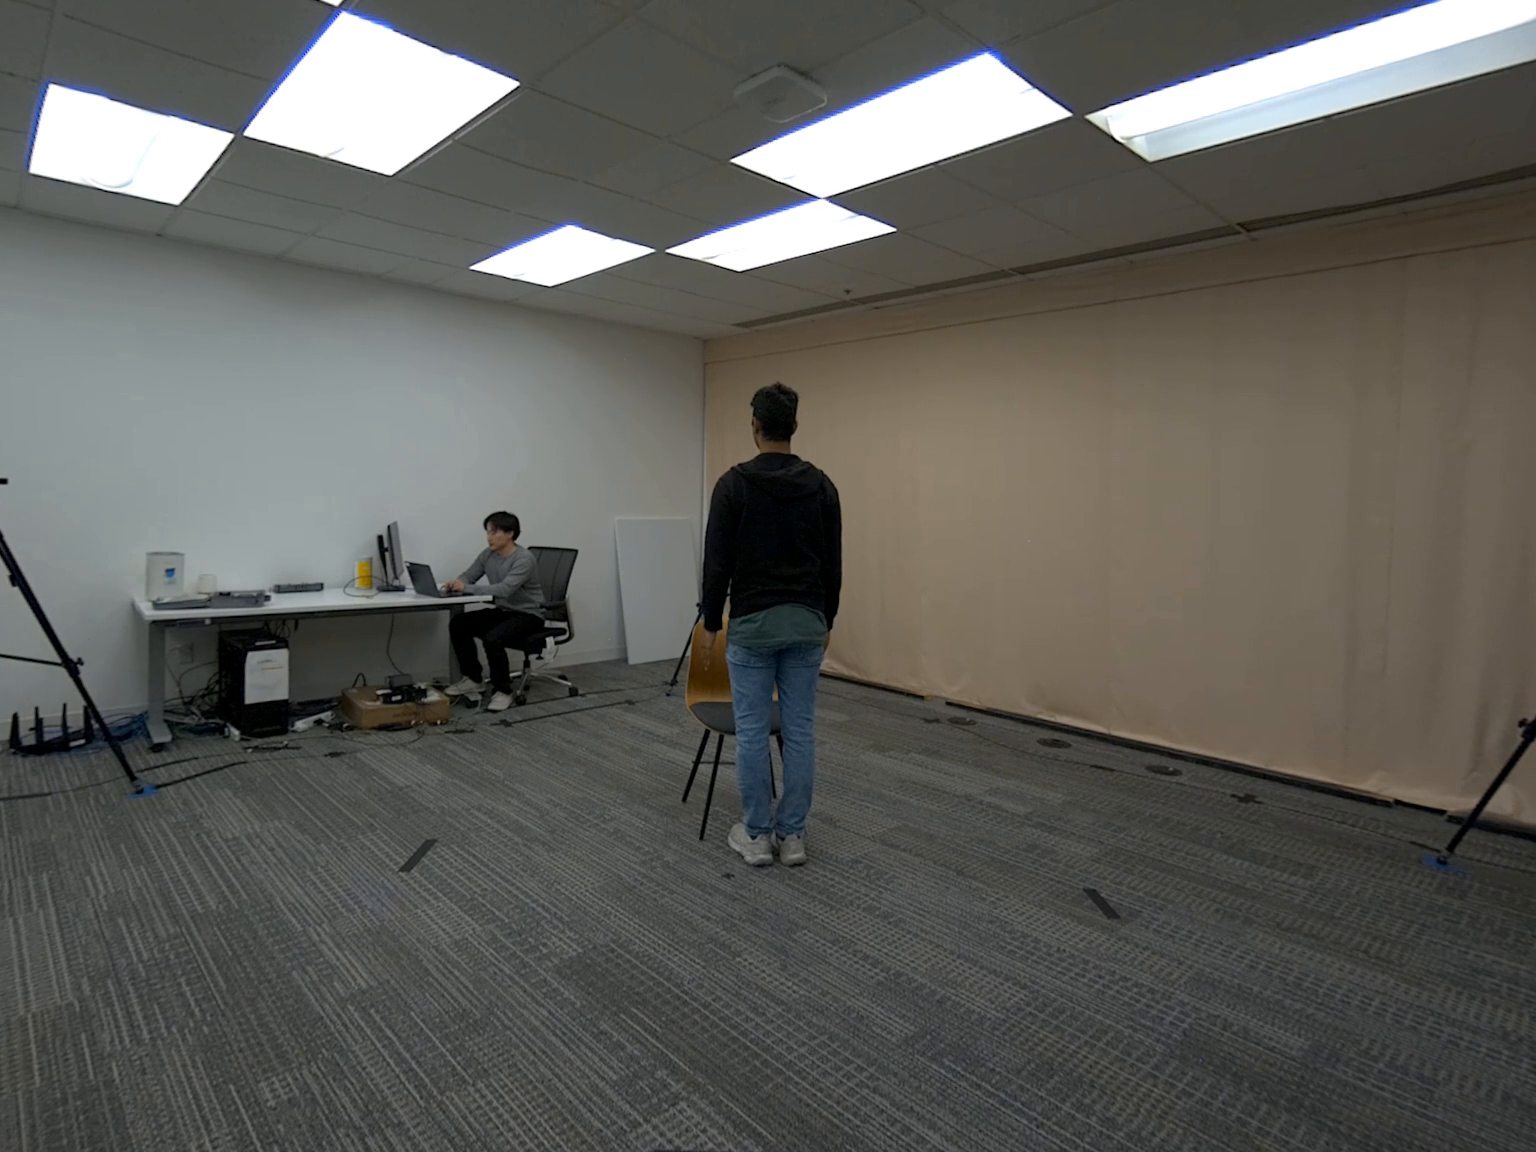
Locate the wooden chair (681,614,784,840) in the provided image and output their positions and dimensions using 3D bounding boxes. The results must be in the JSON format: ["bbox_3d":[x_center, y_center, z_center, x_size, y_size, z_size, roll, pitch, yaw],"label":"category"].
[{"bbox_3d":[-0.113,0.630,3.651,0.473,0.878,0.528,1,-1,-14],"label":"wooden chair"}]
